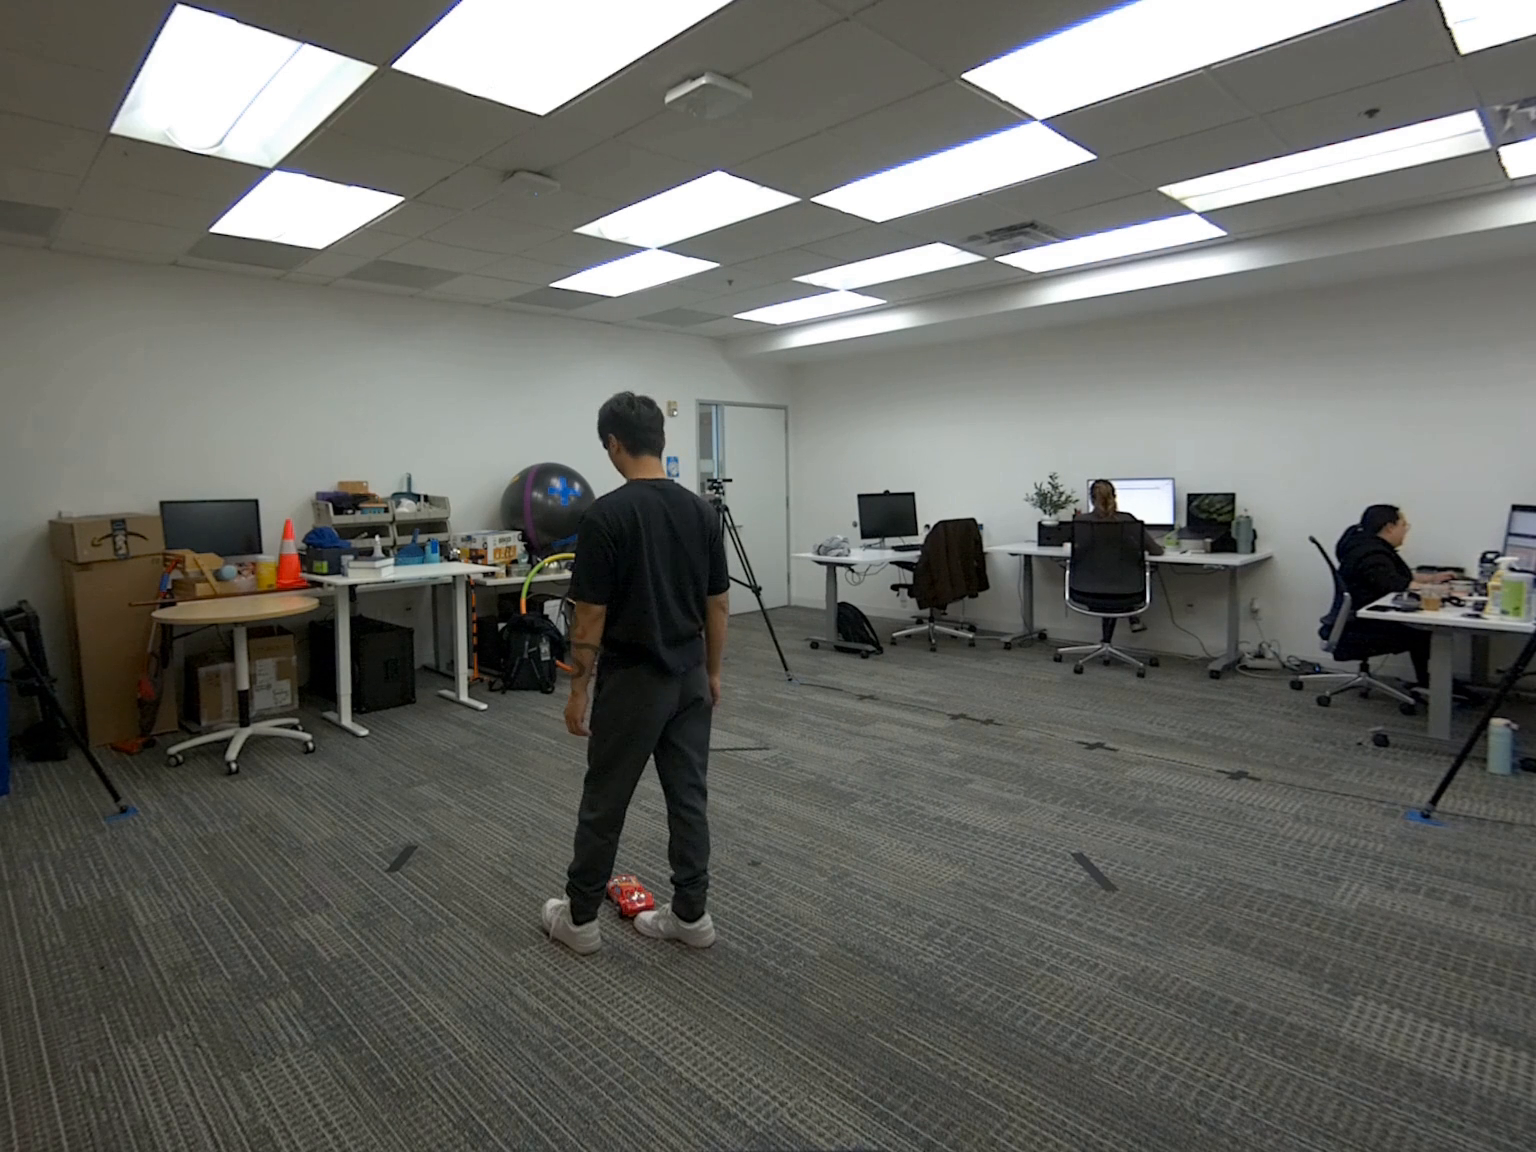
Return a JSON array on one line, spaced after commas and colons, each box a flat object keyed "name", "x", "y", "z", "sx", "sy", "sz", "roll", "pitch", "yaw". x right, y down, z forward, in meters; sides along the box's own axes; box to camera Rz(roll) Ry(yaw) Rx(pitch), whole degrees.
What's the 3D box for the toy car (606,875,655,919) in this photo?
[{"name": "toy car", "x": -0.451, "y": 1.059, "z": 2.808, "sx": 0.127, "sy": 0.083, "sz": 0.259, "roll": -4, "pitch": -4, "yaw": -27}]
